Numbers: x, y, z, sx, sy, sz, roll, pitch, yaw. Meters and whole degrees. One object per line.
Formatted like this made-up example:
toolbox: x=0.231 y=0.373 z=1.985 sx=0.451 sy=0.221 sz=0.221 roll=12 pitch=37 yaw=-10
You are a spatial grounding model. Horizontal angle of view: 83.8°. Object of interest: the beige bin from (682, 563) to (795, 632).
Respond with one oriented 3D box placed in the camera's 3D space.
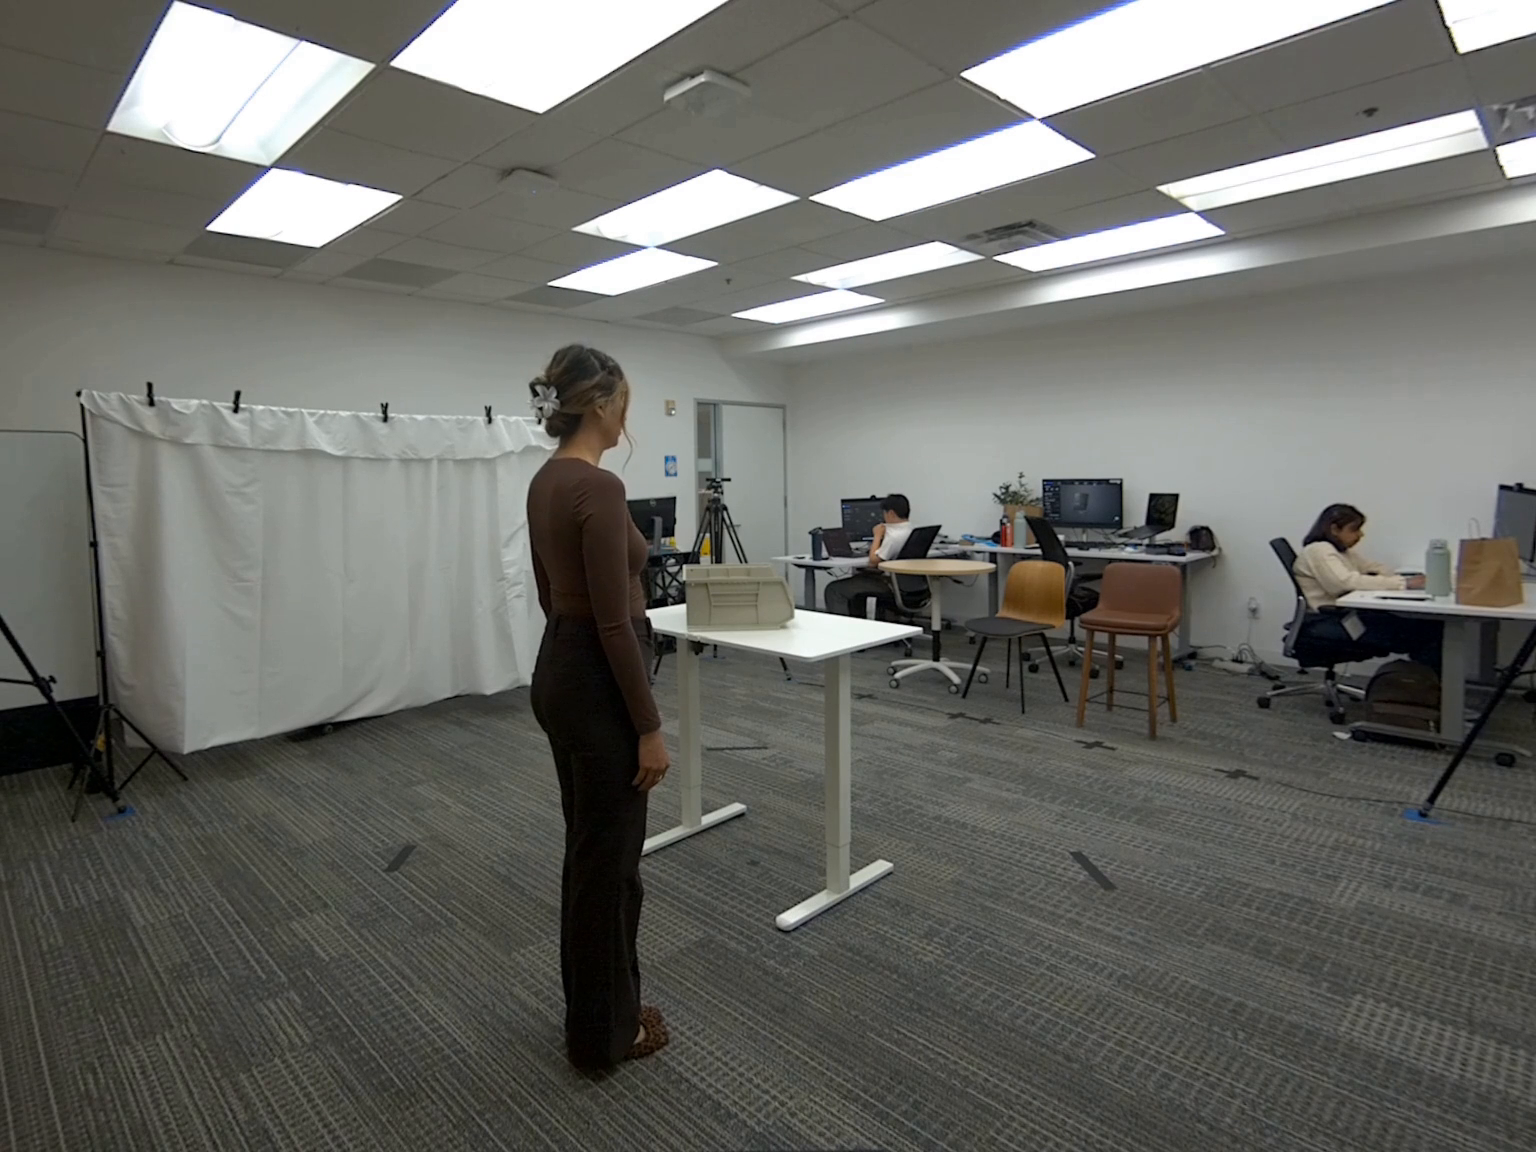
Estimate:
beige bin: x=-0.113 y=0.076 z=3.087 sx=0.376 sy=0.188 sz=0.427 roll=-2 pitch=8 yaw=-4
